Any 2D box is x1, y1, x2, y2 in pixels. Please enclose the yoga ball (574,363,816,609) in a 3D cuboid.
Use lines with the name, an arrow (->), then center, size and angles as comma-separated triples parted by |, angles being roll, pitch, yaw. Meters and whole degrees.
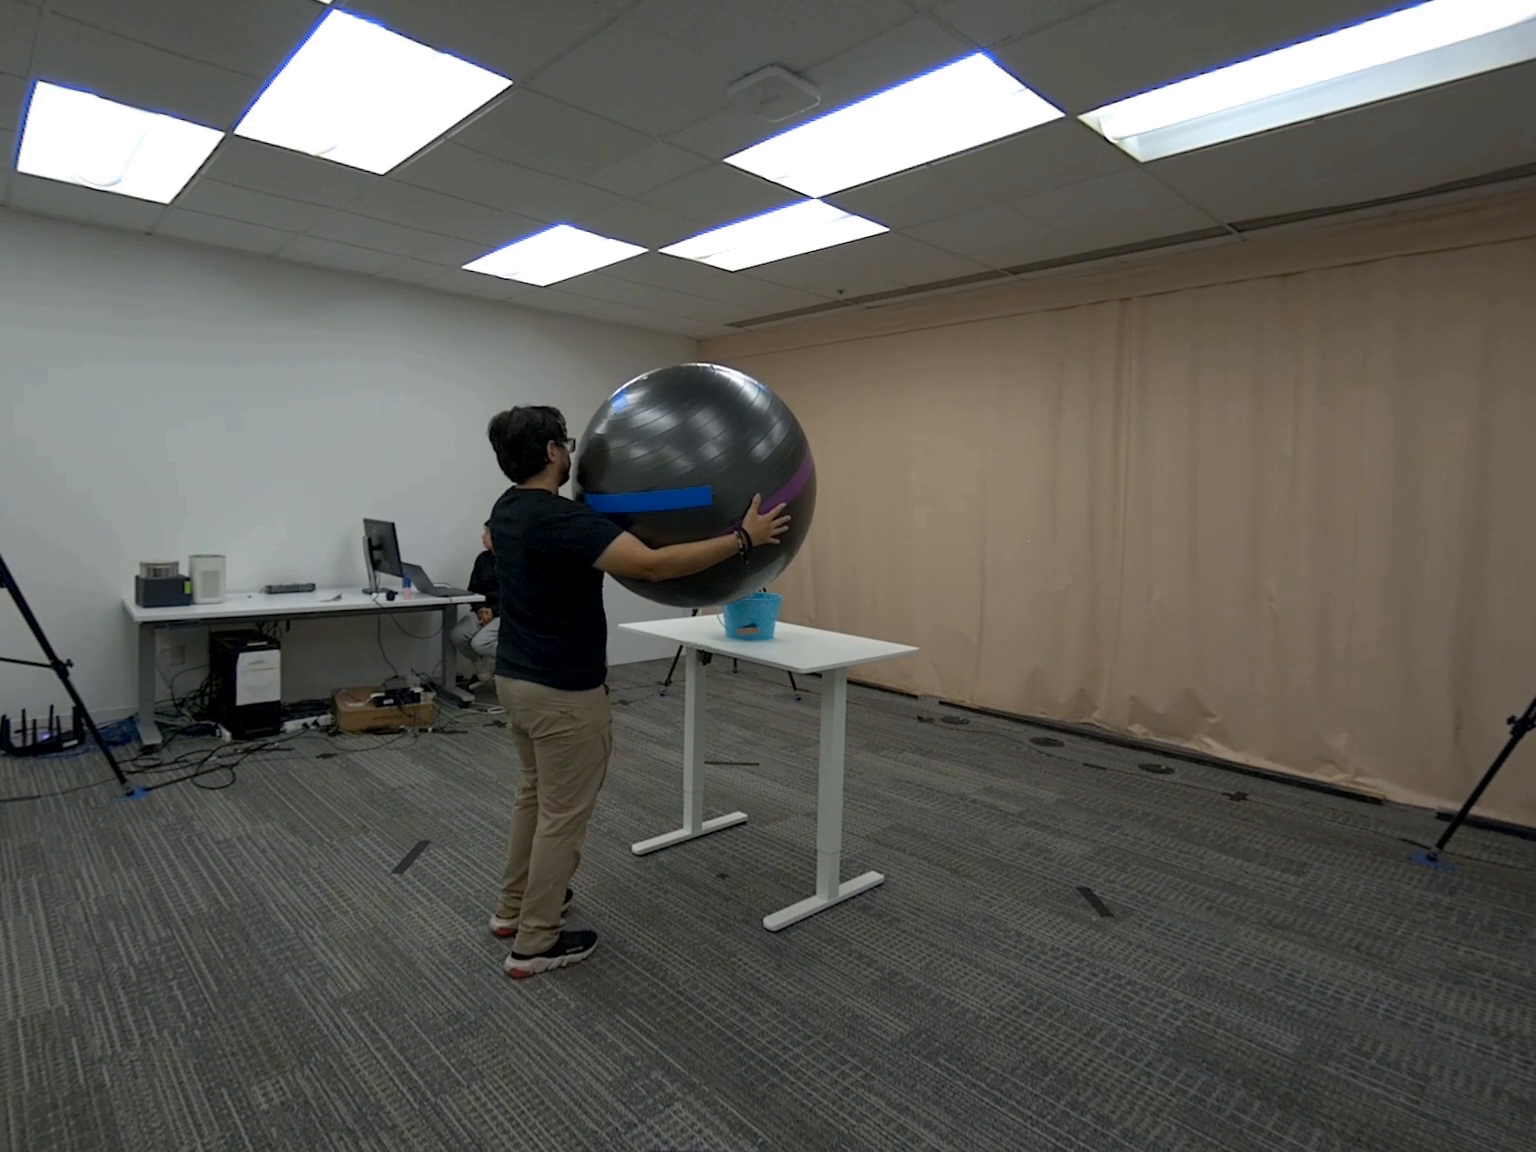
yoga ball -> -0.226, -0.271, 2.619 | 0.757, 0.756, 0.761 | 1, 4, -1
